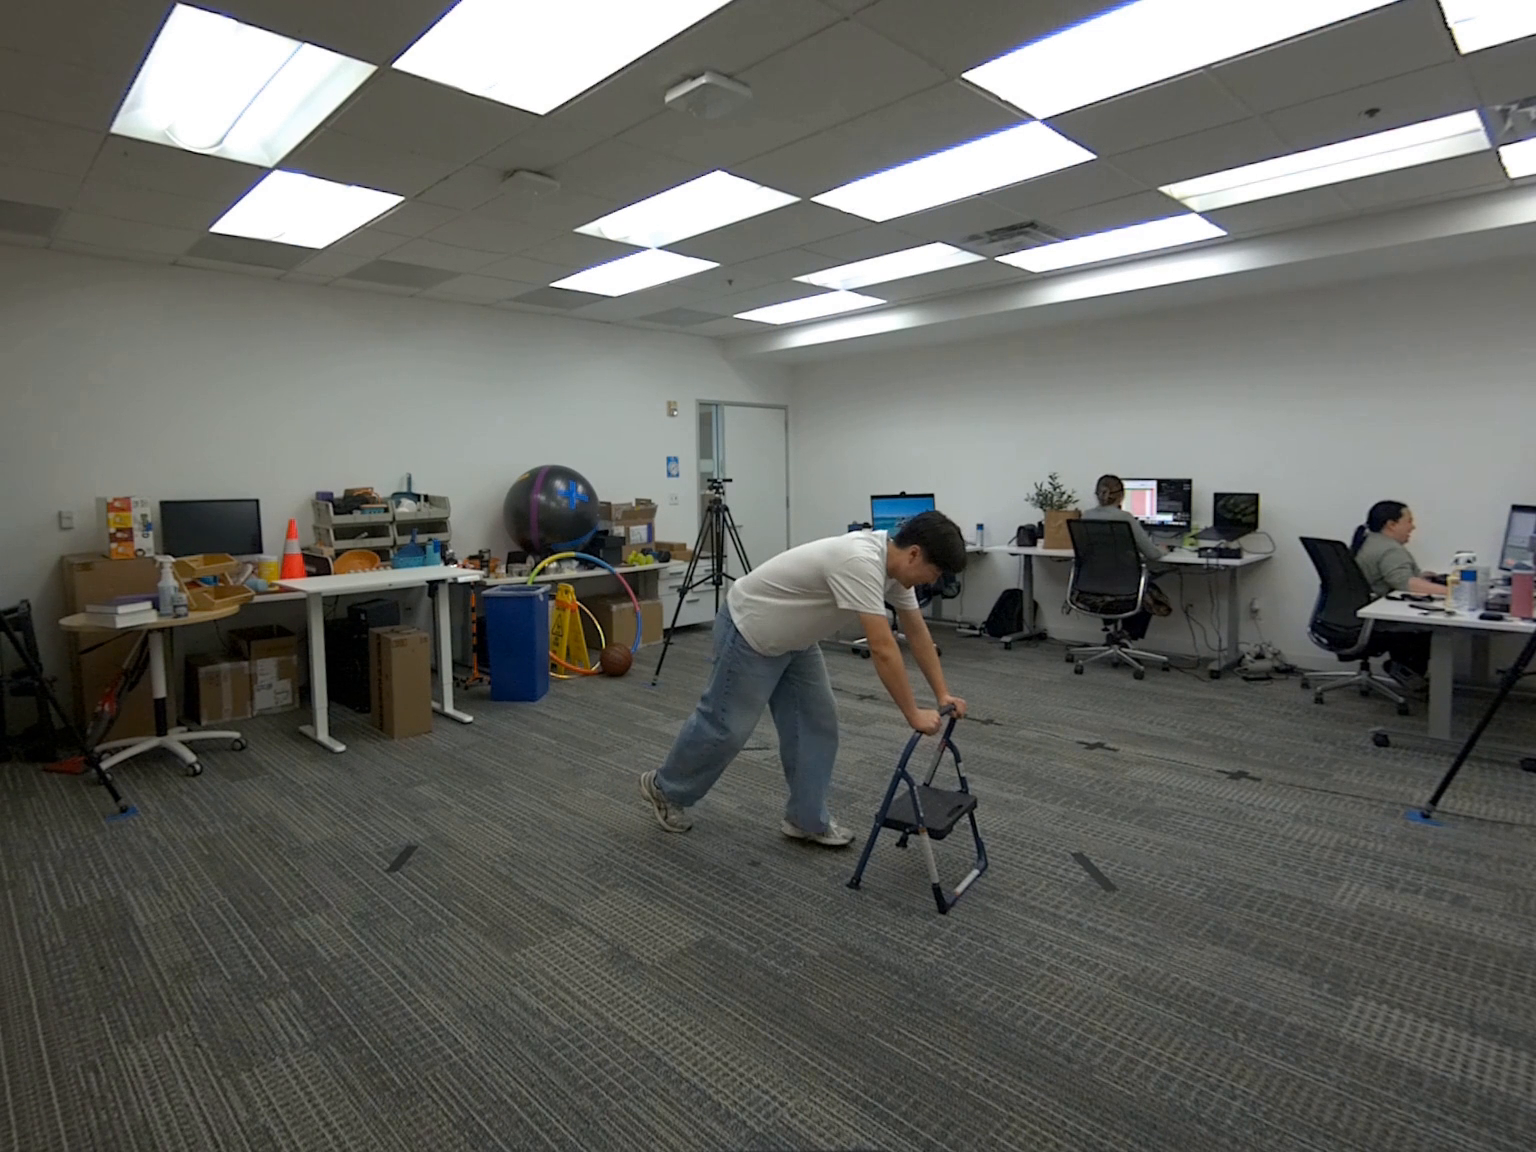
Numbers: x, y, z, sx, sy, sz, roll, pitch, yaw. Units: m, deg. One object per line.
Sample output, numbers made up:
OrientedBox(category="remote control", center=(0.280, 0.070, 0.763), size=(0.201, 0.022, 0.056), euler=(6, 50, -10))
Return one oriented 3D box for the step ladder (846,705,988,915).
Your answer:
OrientedBox(category="step ladder", center=(0.531, 0.750, 2.957), size=(0.359, 0.604, 0.420), euler=(2, 5, 33))
